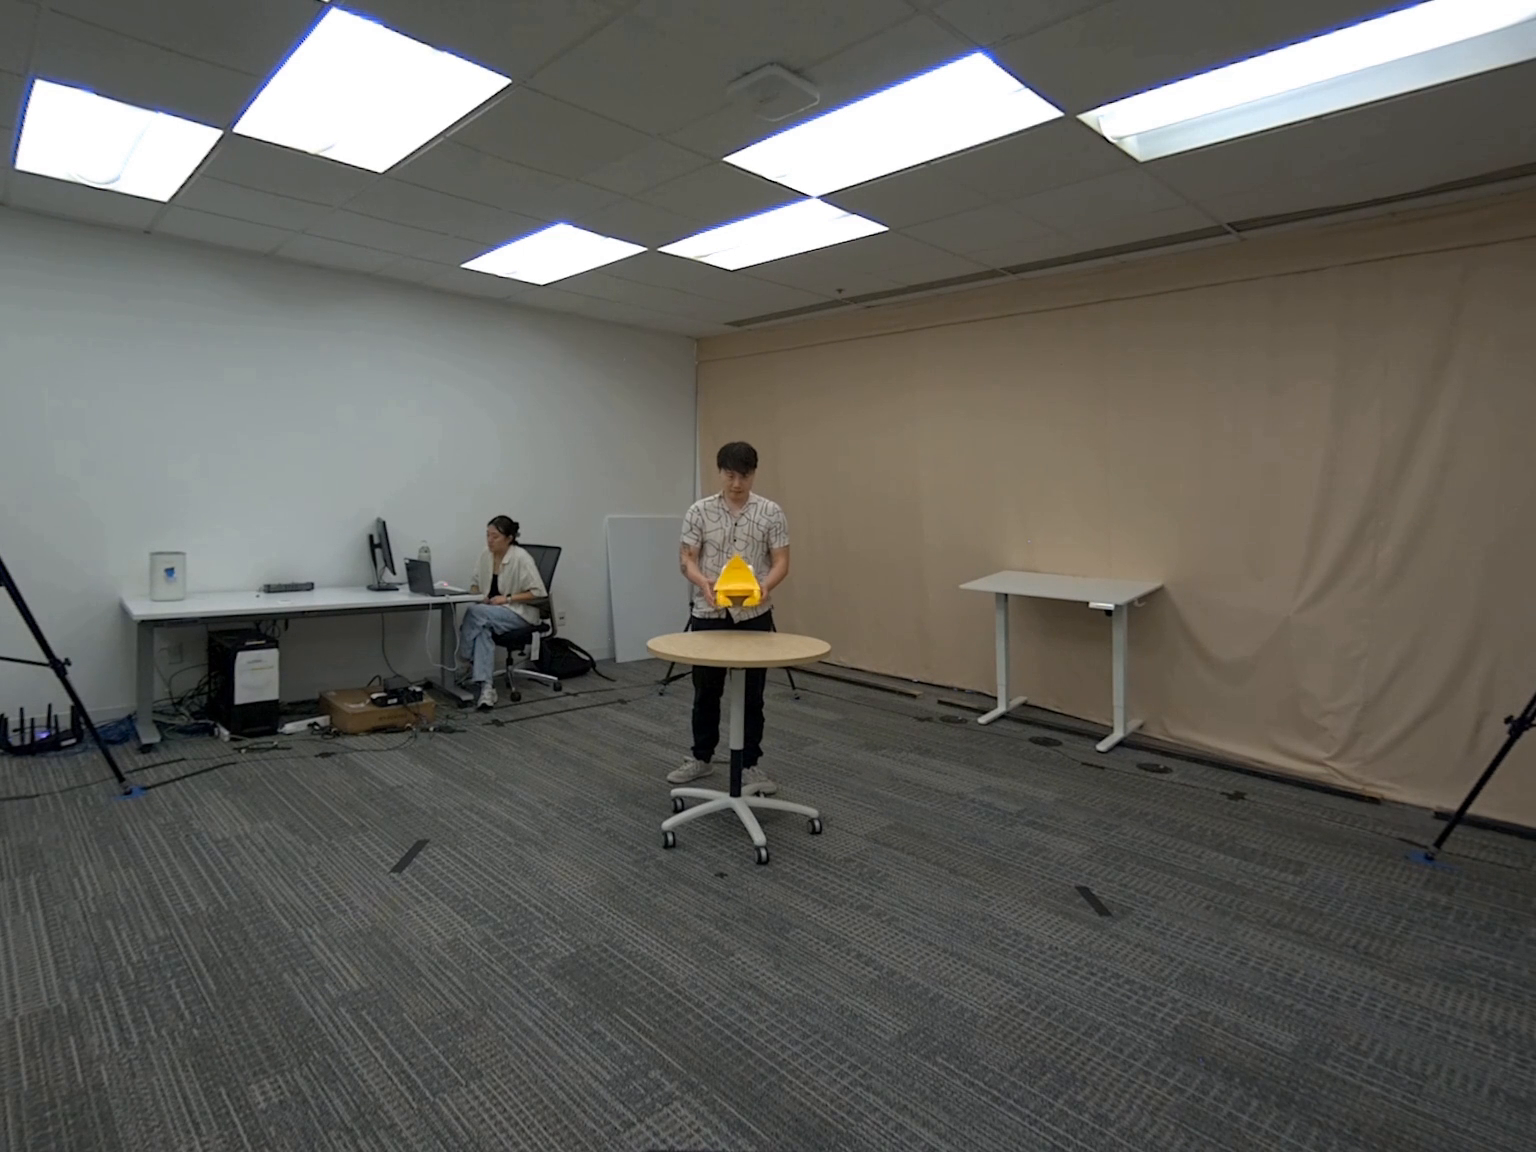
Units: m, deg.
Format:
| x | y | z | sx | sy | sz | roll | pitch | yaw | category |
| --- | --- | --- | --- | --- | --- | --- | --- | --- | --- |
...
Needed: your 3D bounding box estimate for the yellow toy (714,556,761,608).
| x | y | z | sx | sy | sz | roll | pitch | yaw | category |
| --- | --- | --- | --- | --- | --- | --- | --- | --- | --- |
| -0.151 | 0.001 | 3.758 | 0.205 | 0.228 | 0.194 | -1 | 12 | 4 | yellow toy |
